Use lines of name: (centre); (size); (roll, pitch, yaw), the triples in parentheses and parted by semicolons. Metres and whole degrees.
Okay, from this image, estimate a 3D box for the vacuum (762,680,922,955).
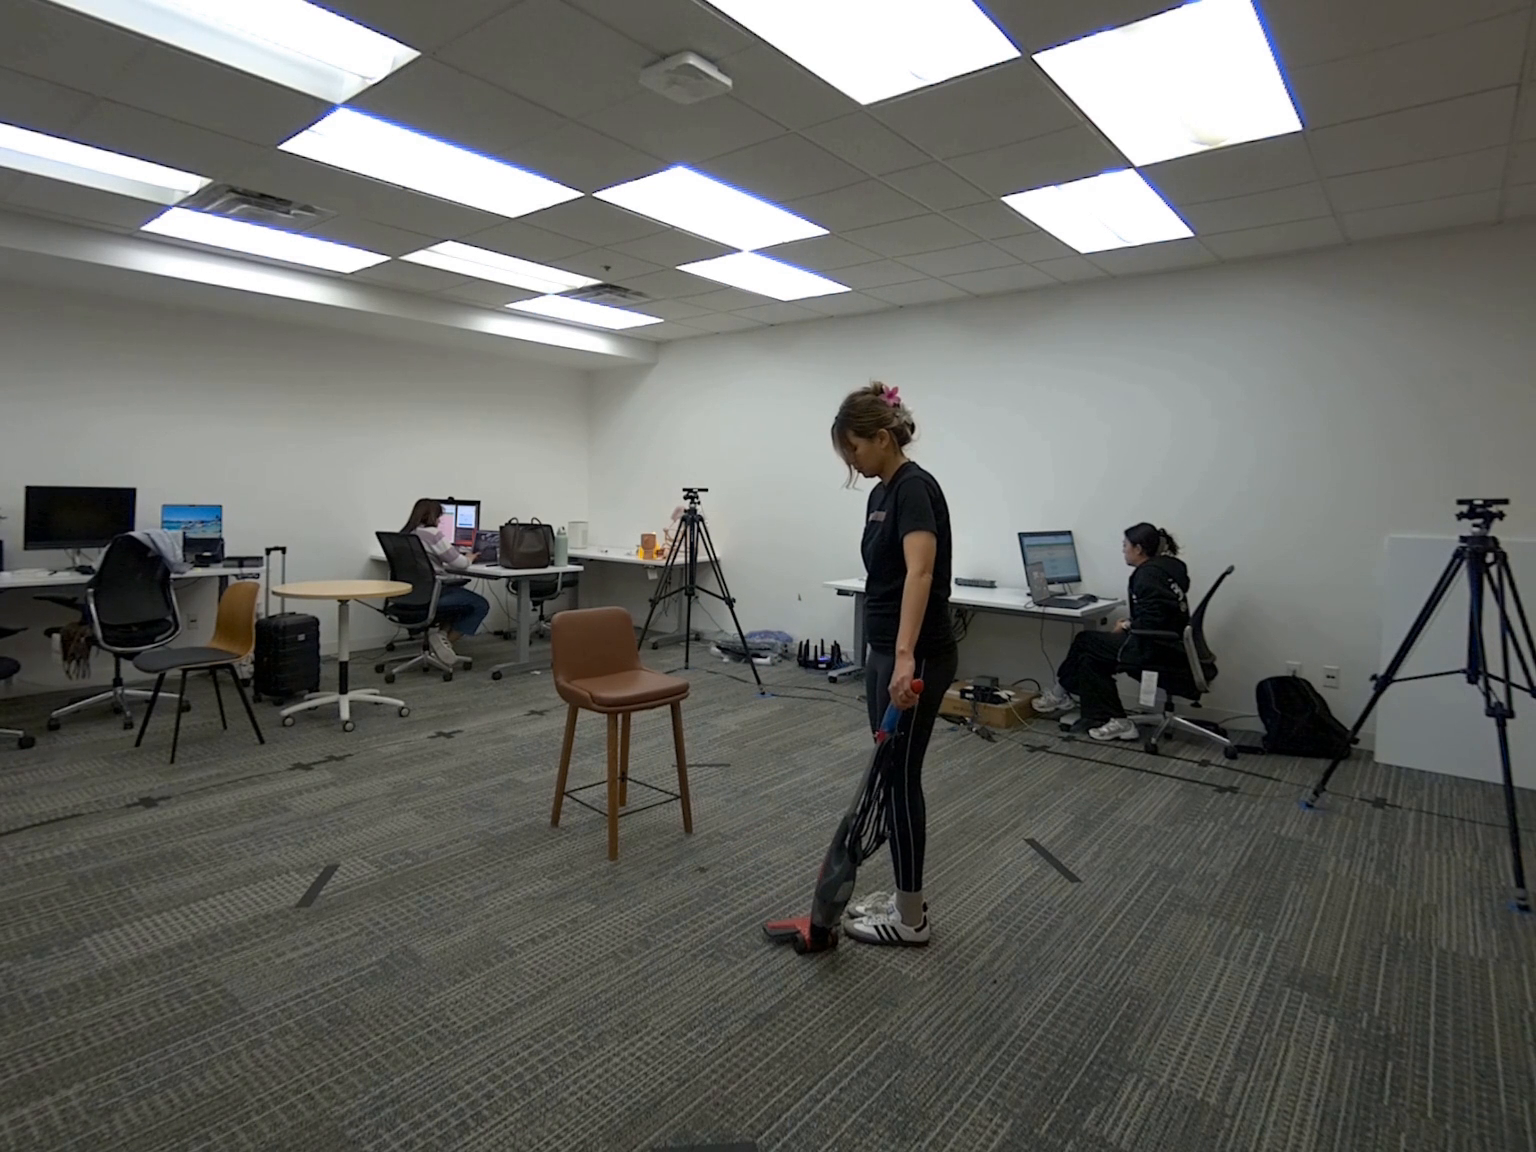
vacuum: (0.233, 0.699, 2.357); (0.246, 1.031, 0.150); (-1, 36, -26)
